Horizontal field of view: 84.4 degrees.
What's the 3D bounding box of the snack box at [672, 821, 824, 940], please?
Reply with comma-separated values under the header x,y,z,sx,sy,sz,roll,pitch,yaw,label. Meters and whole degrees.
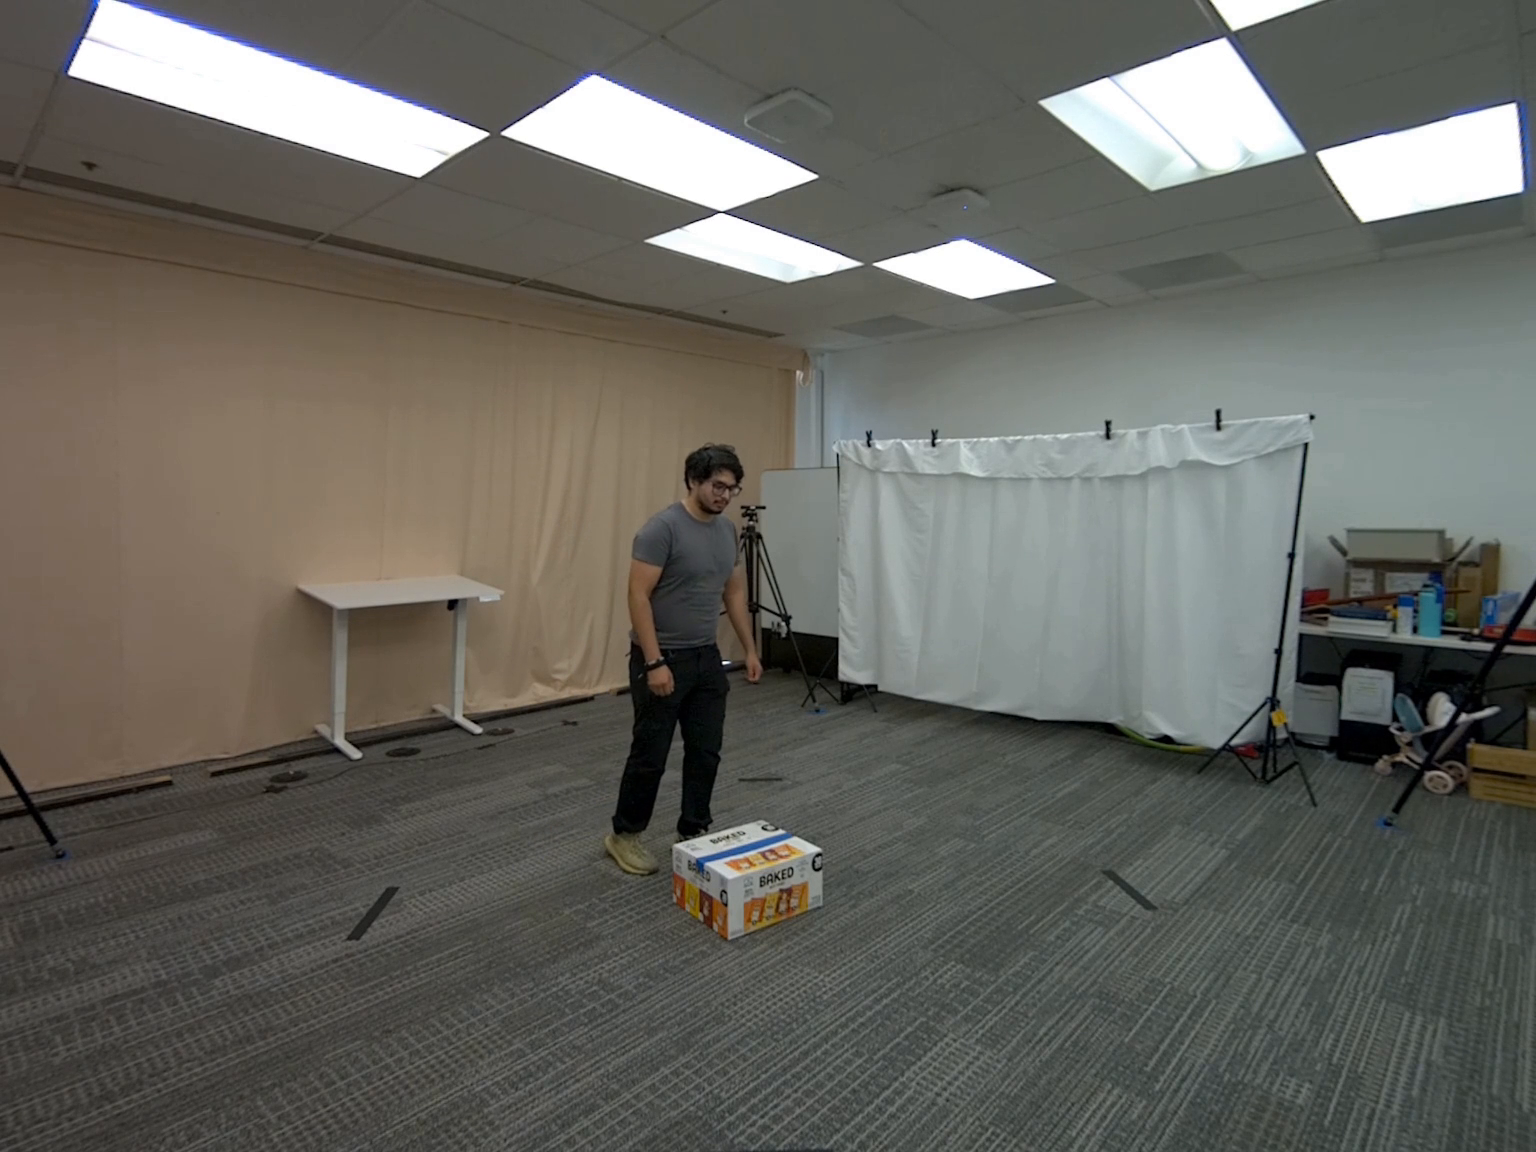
x,y,z,sx,sy,sz,roll,pitch,yaw,label
-0.069,1.048,2.936,0.393,0.205,0.351,-4,5,-37,snack box
